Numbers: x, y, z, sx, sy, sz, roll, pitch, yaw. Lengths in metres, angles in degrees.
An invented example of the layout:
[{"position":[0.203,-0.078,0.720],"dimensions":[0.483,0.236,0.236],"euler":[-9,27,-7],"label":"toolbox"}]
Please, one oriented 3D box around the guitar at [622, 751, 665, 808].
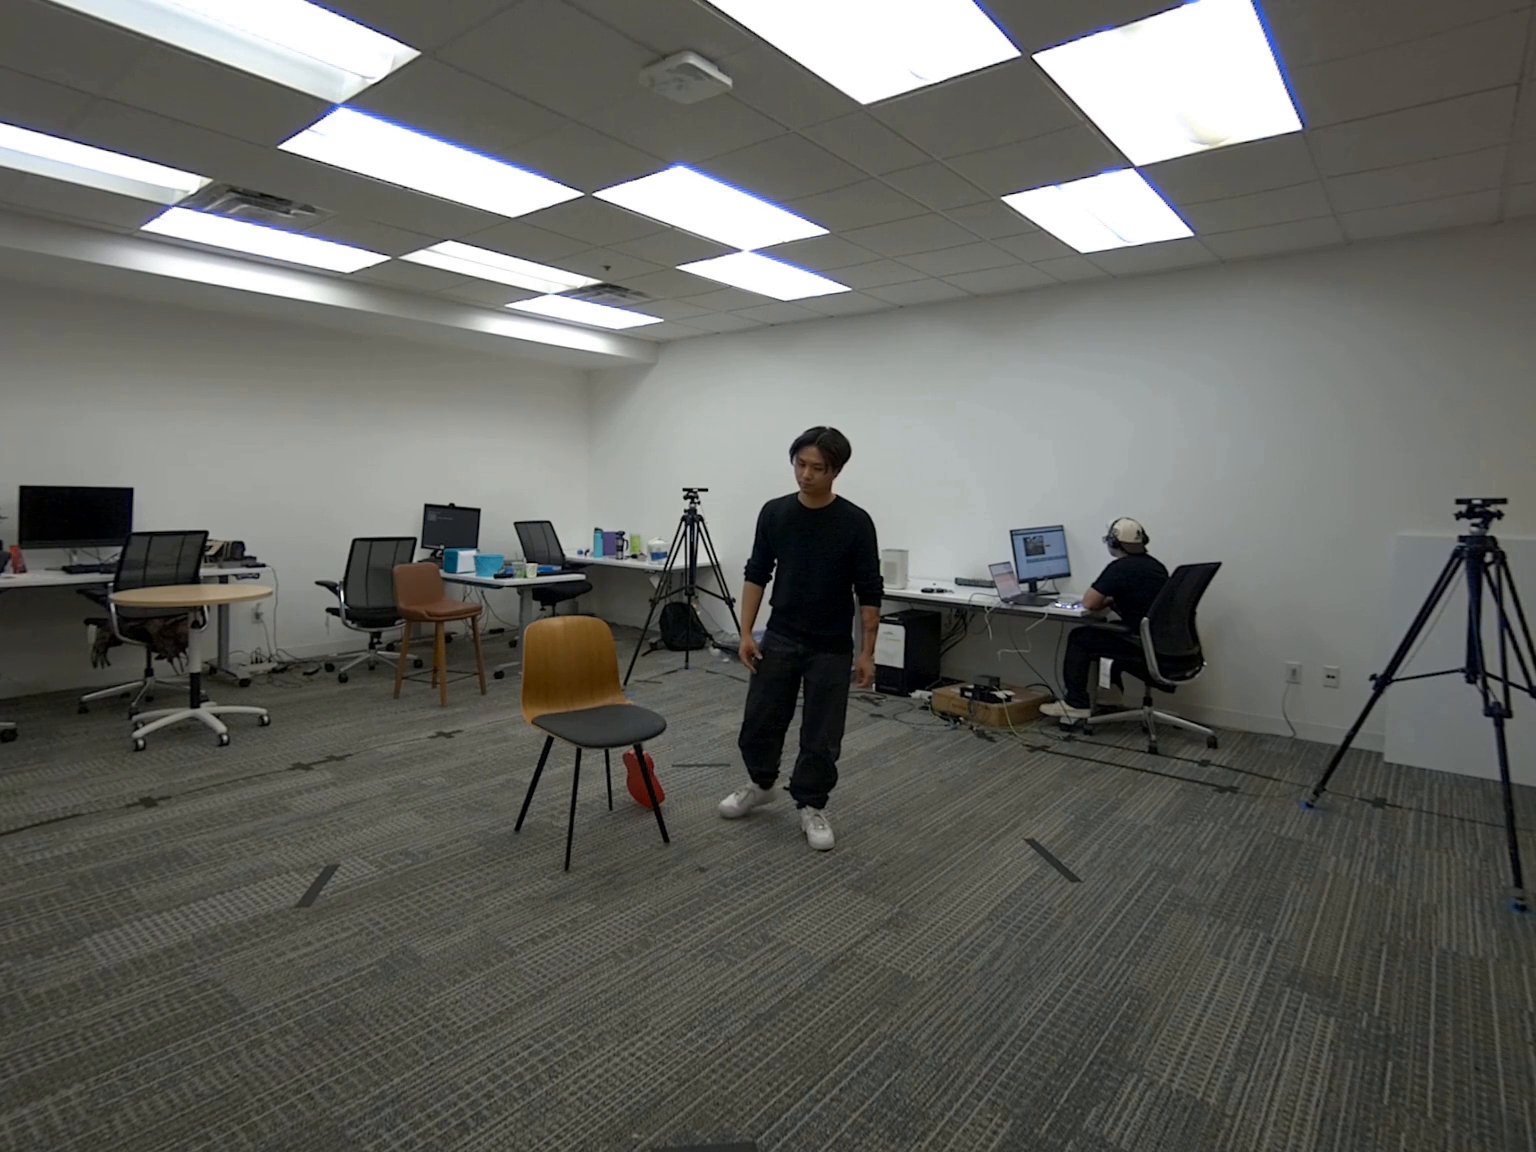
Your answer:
[{"position":[-0.594,0.764,3.686],"dimensions":[0.069,0.490,0.199],"euler":[-25,16,-38],"label":"guitar"}]
